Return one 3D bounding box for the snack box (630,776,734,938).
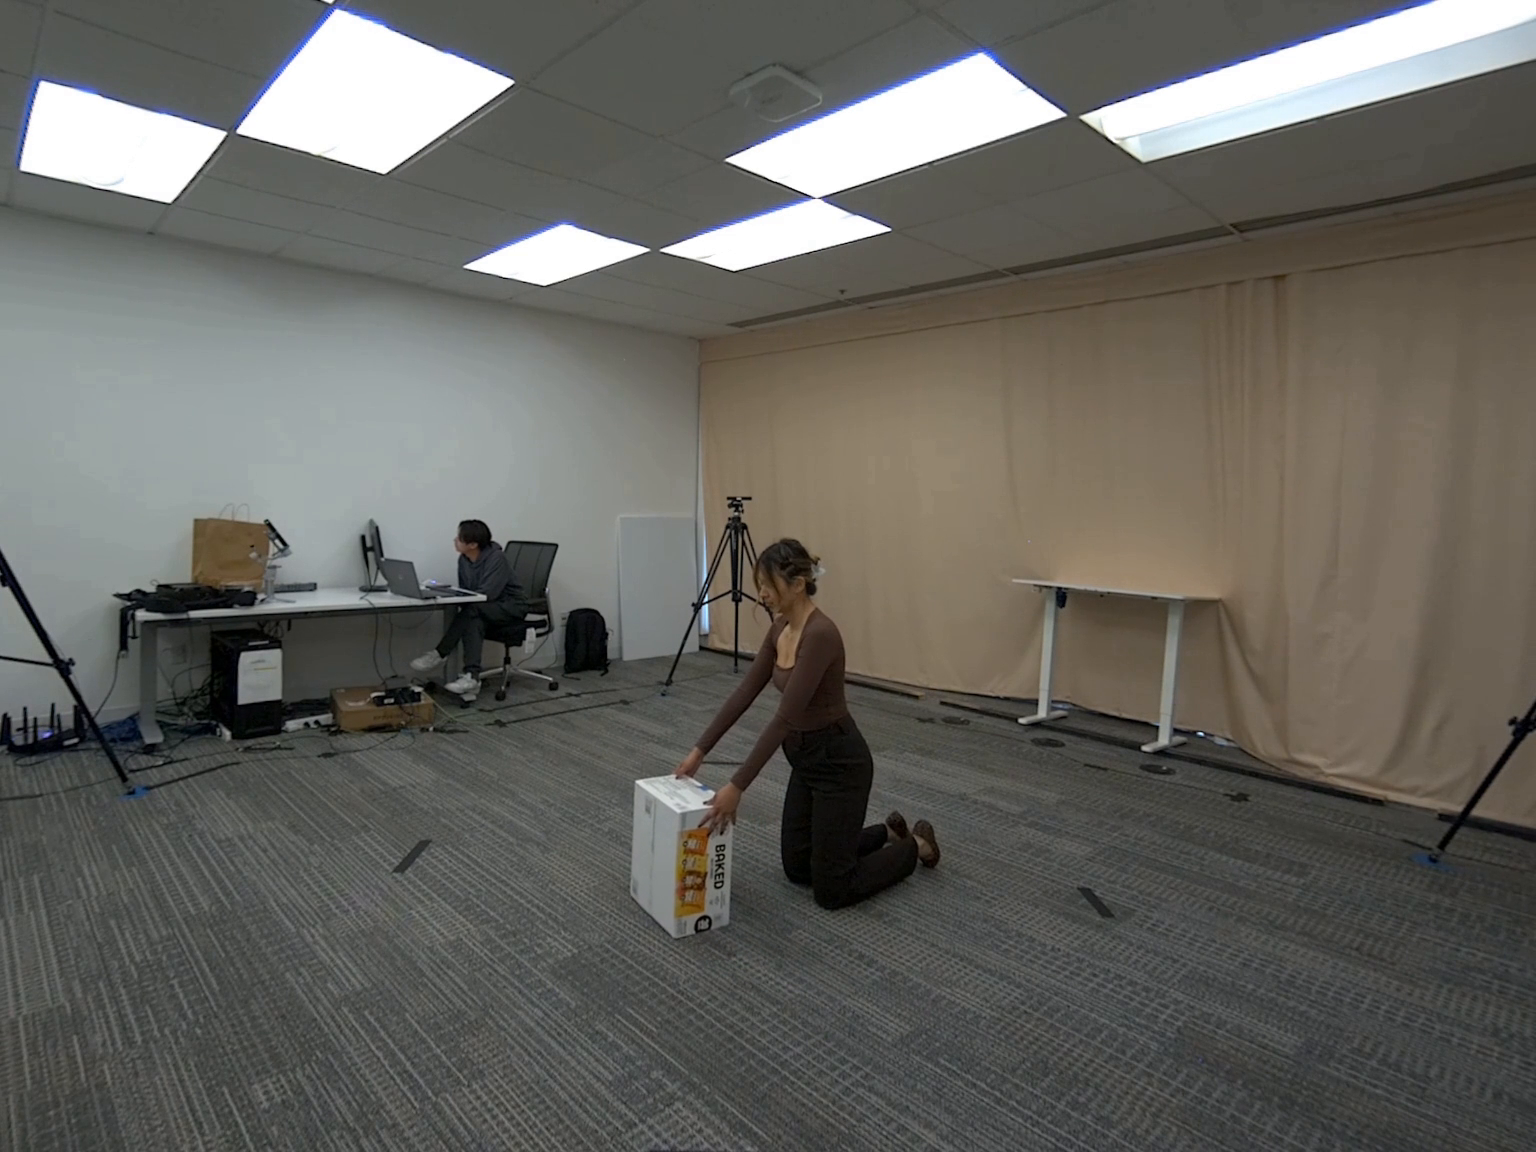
[{"bbox_3d":[-0.297,0.922,2.829,0.201,0.404,0.348,0,4,-33],"label":"snack box"}]
